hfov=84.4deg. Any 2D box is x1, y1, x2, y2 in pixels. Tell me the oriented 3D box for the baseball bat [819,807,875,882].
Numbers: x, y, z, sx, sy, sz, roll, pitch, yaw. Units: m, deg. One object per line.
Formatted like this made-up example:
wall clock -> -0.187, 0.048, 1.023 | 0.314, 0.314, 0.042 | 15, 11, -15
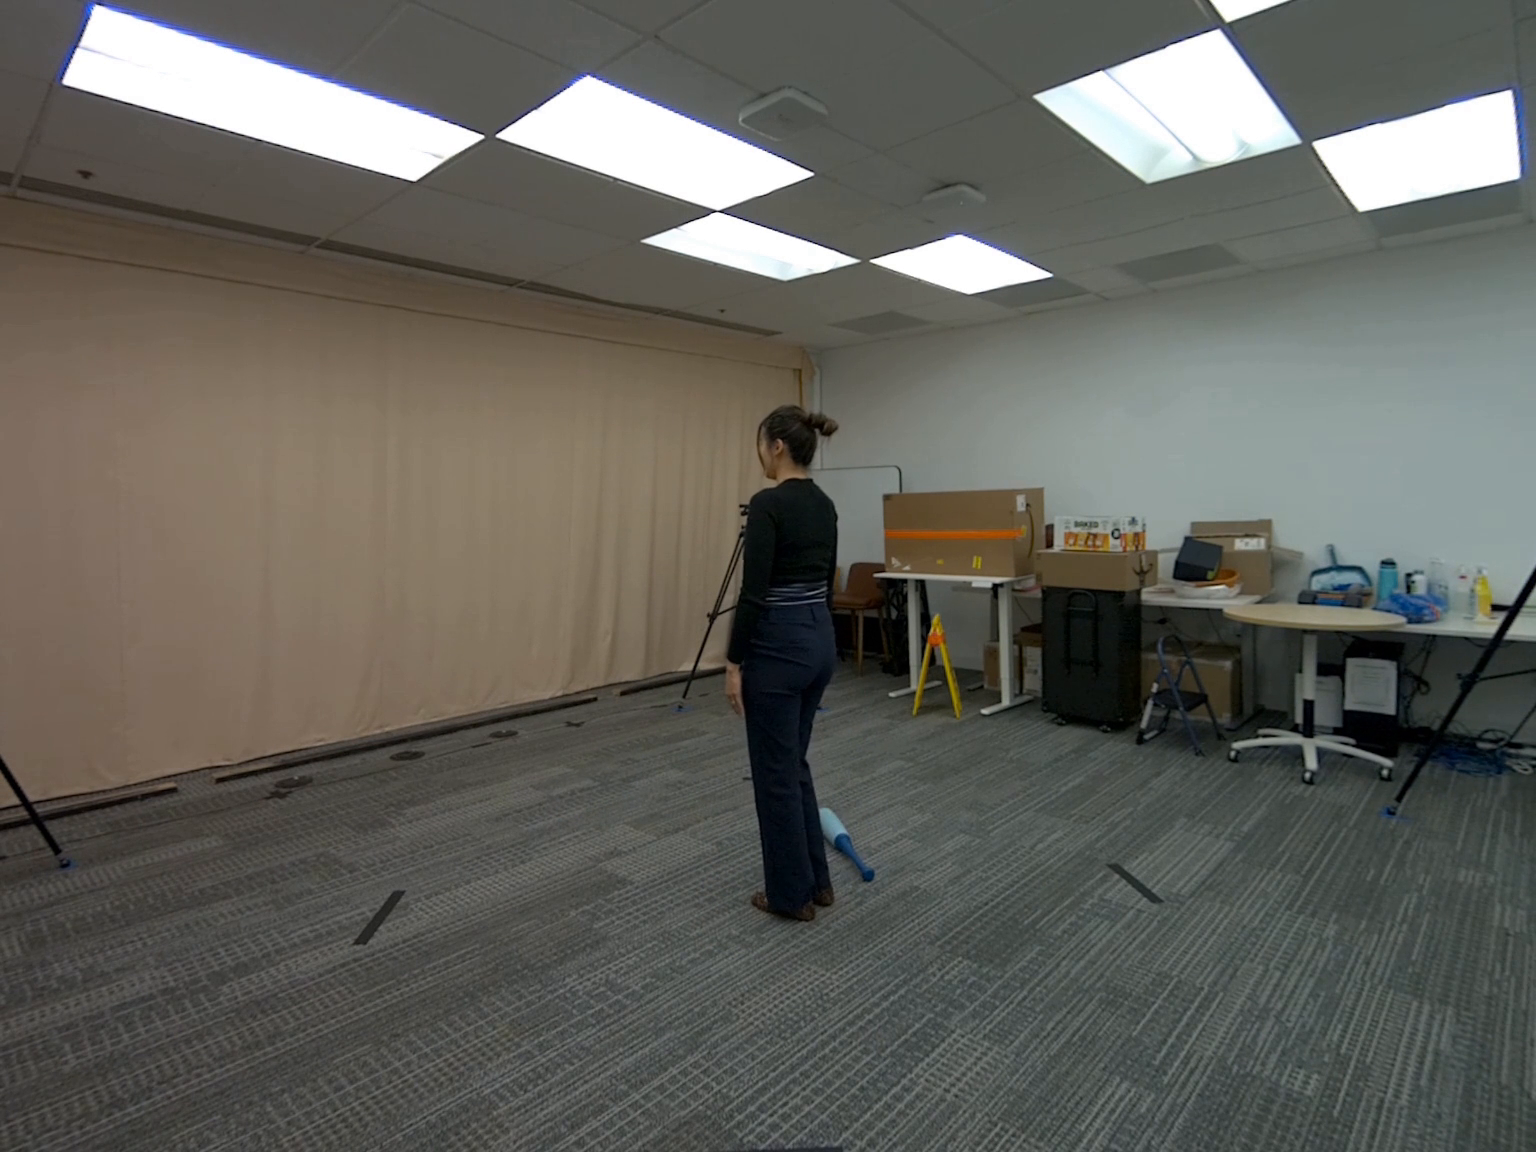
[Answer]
baseball bat -> 0.306, 1.069, 3.350 | 0.088, 0.088, 0.552 | -2, 8, -14
